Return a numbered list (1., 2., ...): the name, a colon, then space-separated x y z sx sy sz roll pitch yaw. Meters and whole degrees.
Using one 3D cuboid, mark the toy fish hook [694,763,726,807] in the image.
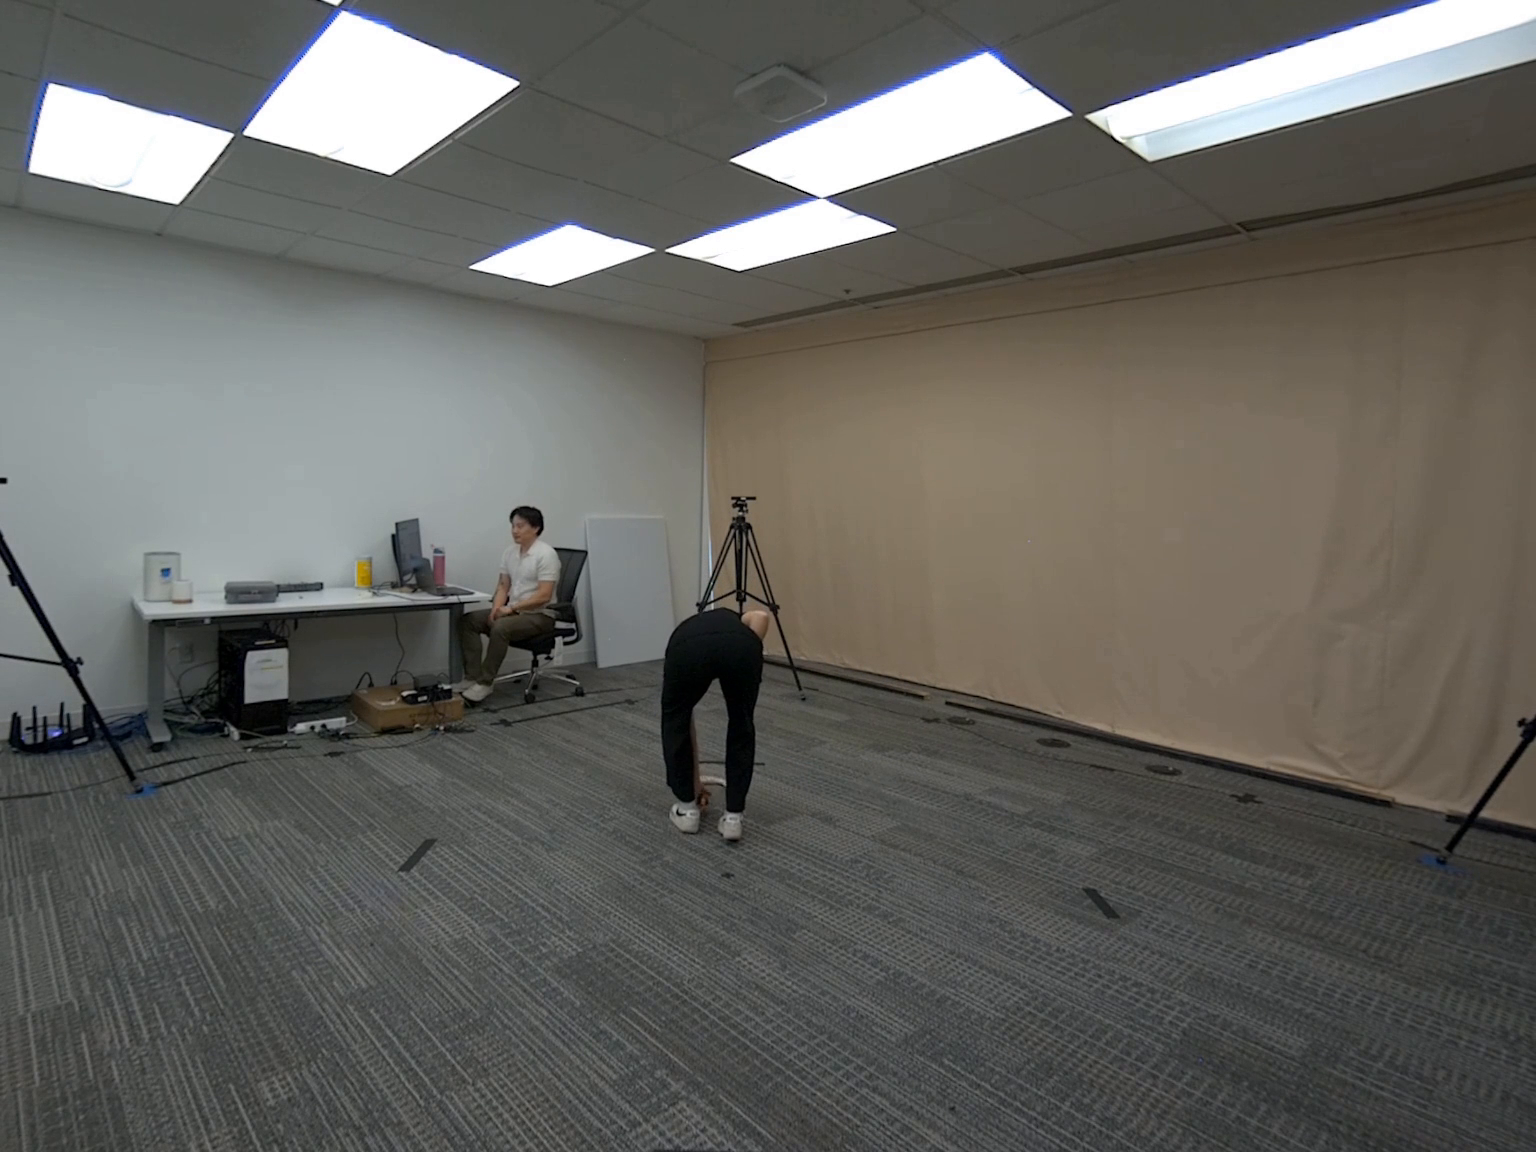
1. toy fish hook: -0.271 0.987 3.906 0.223 0.048 0.509 0 0 -9
